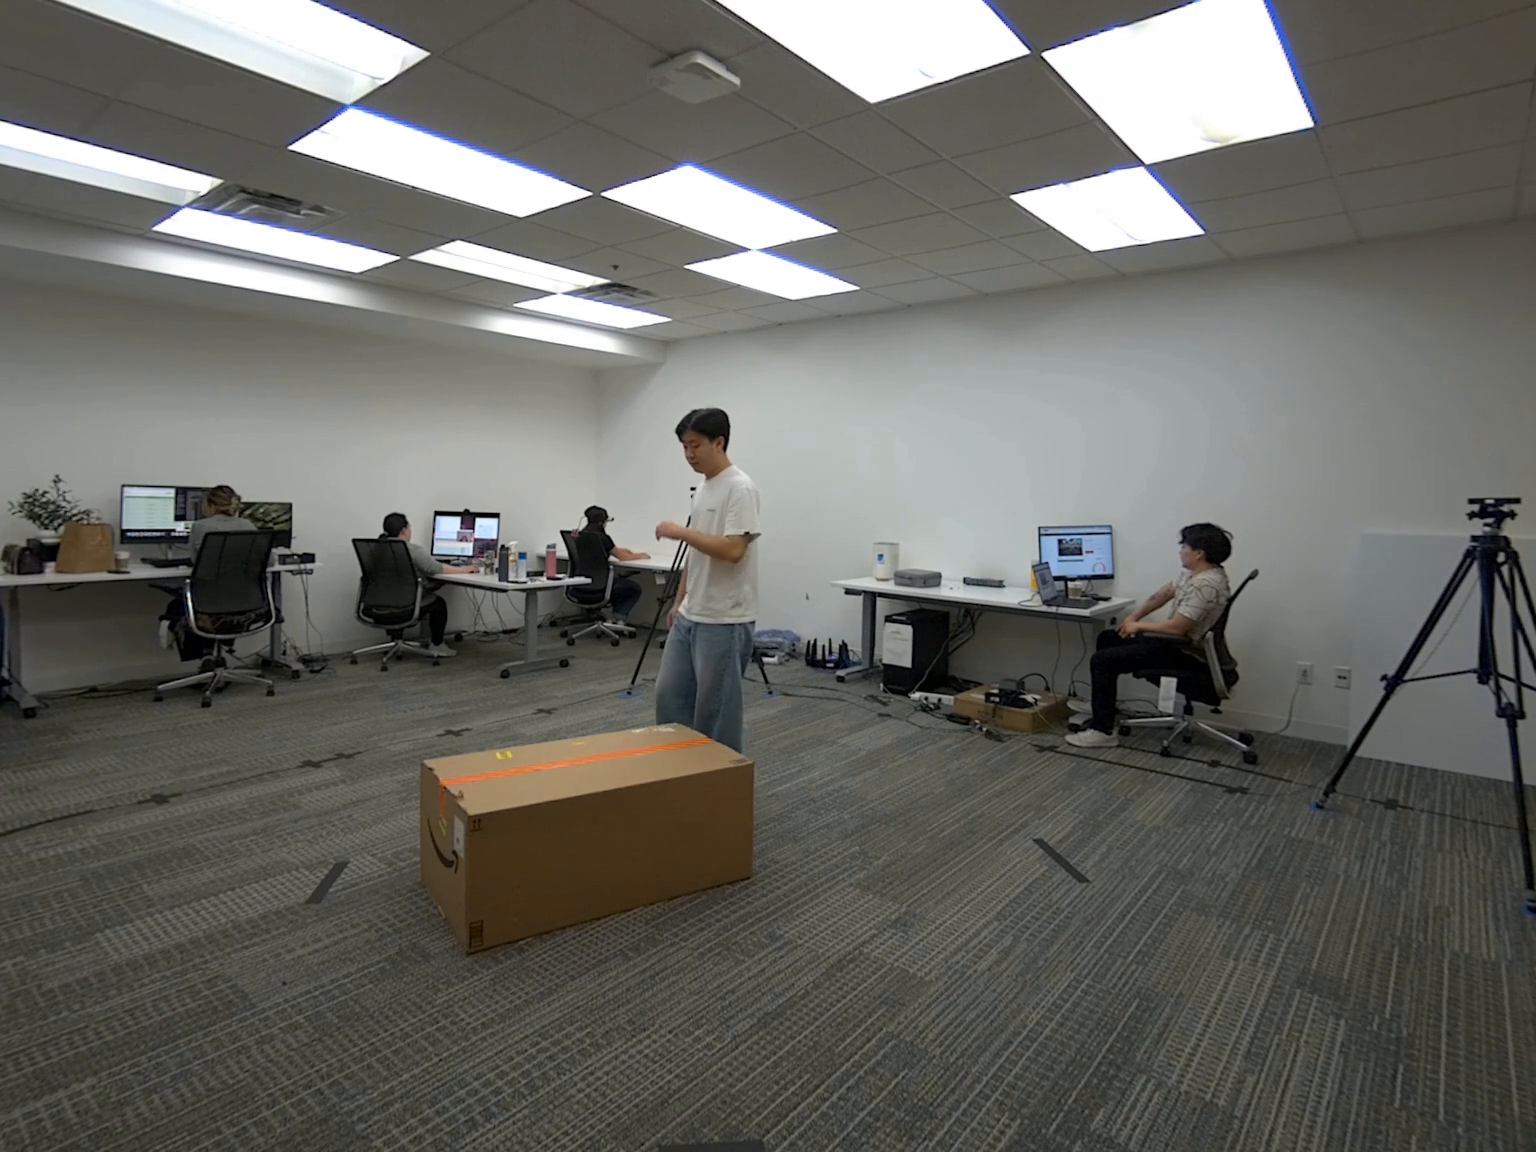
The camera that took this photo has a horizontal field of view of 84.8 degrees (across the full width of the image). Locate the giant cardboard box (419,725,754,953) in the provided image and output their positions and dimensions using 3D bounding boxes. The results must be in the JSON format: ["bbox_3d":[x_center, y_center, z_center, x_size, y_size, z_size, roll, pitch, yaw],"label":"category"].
[{"bbox_3d":[-0.641,0.857,2.995,0.997,0.425,0.596,-2,5,-33],"label":"giant cardboard box"}]
